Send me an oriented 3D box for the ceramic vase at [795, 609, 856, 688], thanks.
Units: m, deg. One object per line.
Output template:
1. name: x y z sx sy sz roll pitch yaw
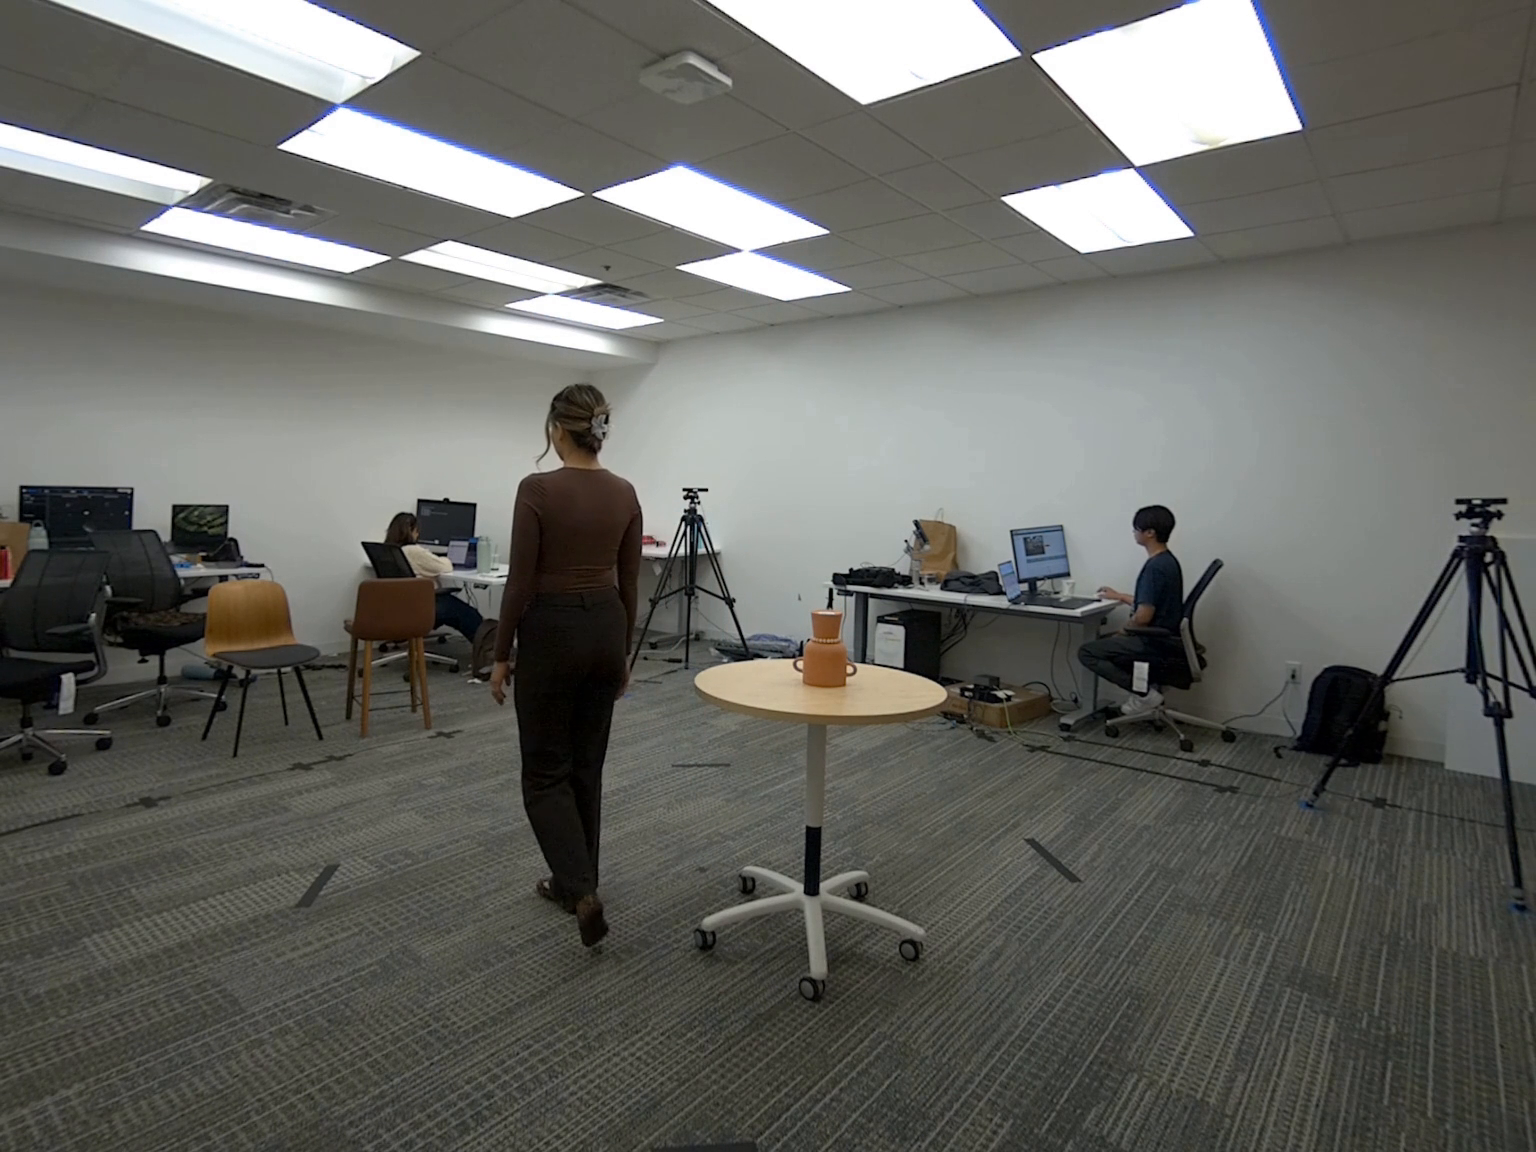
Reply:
1. ceramic vase: 0.169 0.221 2.618 0.155 0.219 0.138 -1 5 -25
